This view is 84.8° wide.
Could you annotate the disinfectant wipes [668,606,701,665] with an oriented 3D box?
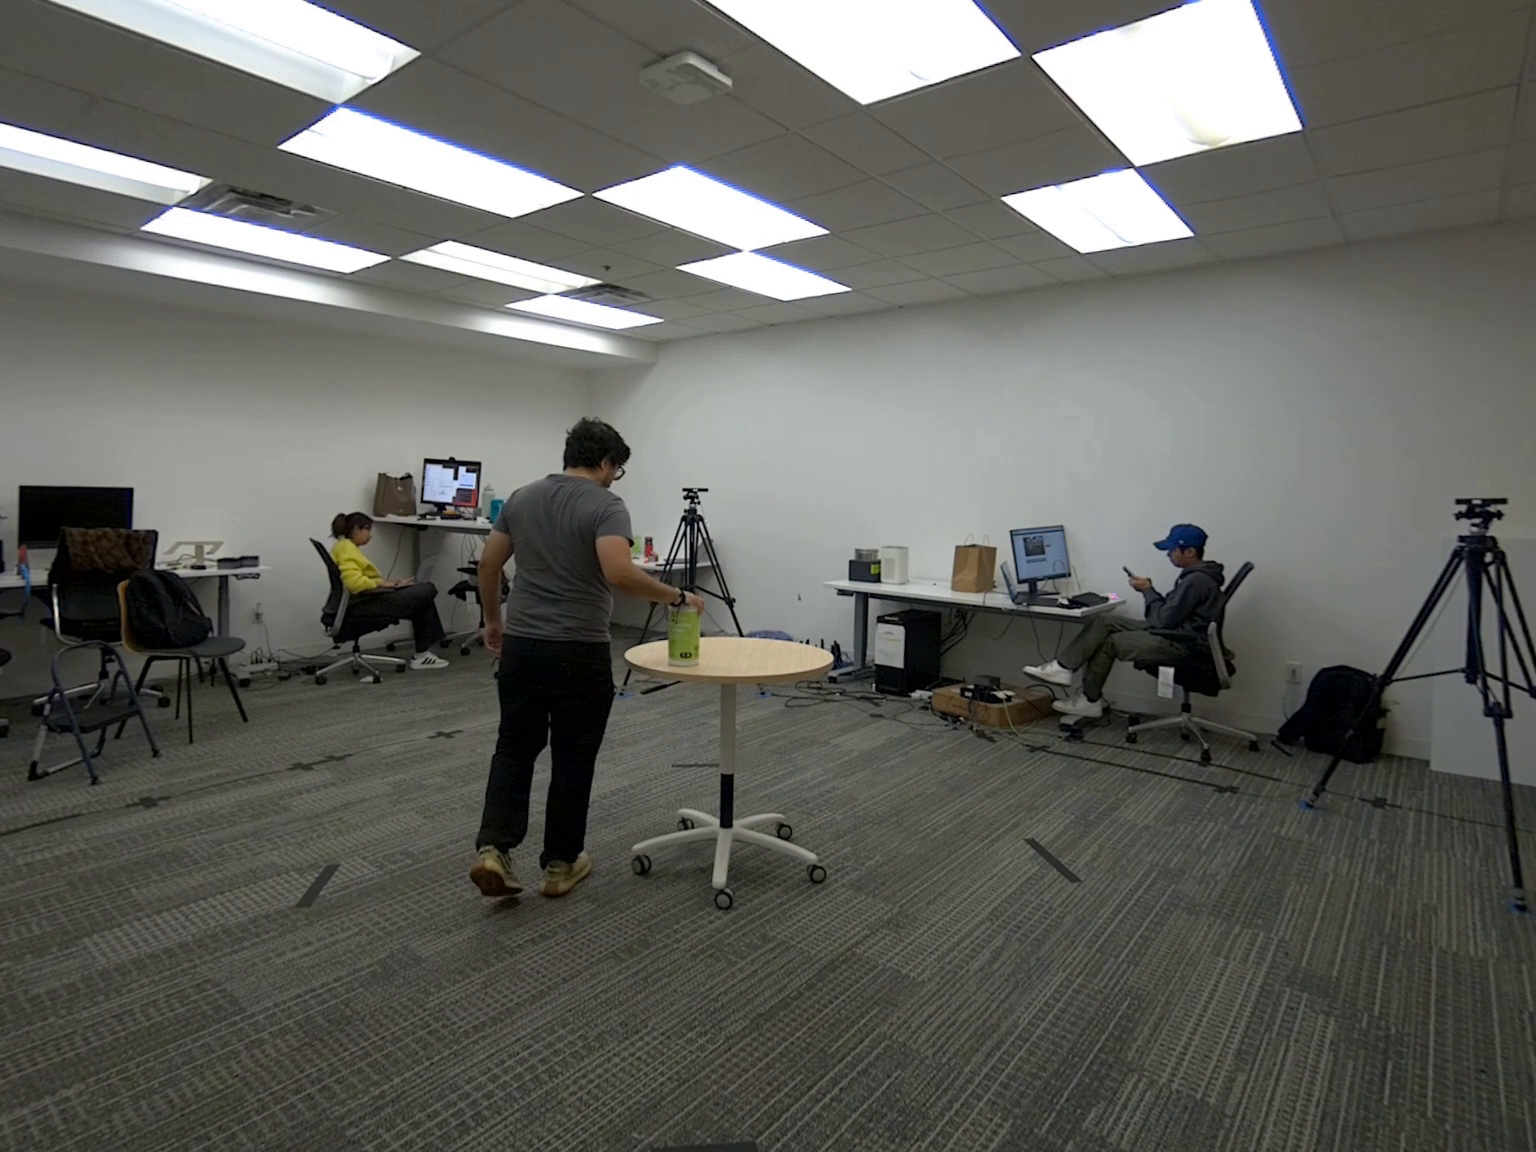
[{"bbox_3d":[-0.303,0.197,2.939,0.117,0.216,0.118,1,6,-2],"label":"disinfectant wipes"}]
